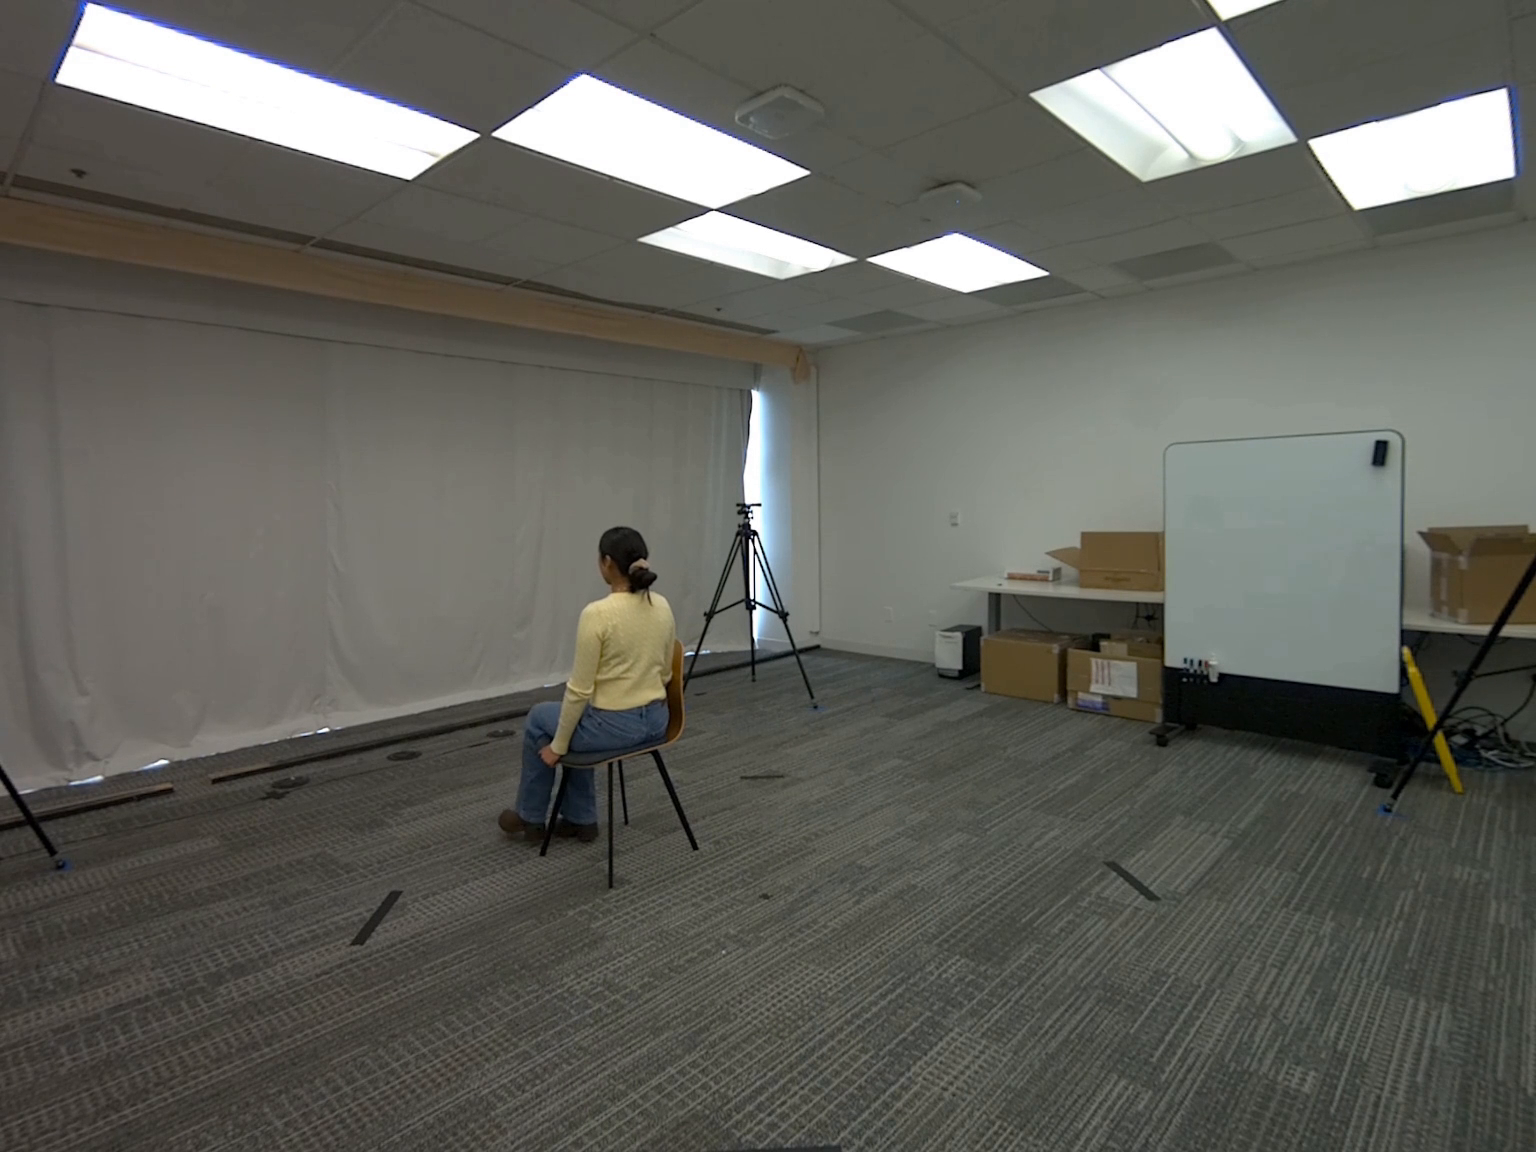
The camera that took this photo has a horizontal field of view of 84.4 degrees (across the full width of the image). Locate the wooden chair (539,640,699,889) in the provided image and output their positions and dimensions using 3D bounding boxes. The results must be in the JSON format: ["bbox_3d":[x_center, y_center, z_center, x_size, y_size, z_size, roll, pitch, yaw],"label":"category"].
[{"bbox_3d":[-0.606,0.692,3.352,0.494,0.877,0.506,1,0,42],"label":"wooden chair"}]
